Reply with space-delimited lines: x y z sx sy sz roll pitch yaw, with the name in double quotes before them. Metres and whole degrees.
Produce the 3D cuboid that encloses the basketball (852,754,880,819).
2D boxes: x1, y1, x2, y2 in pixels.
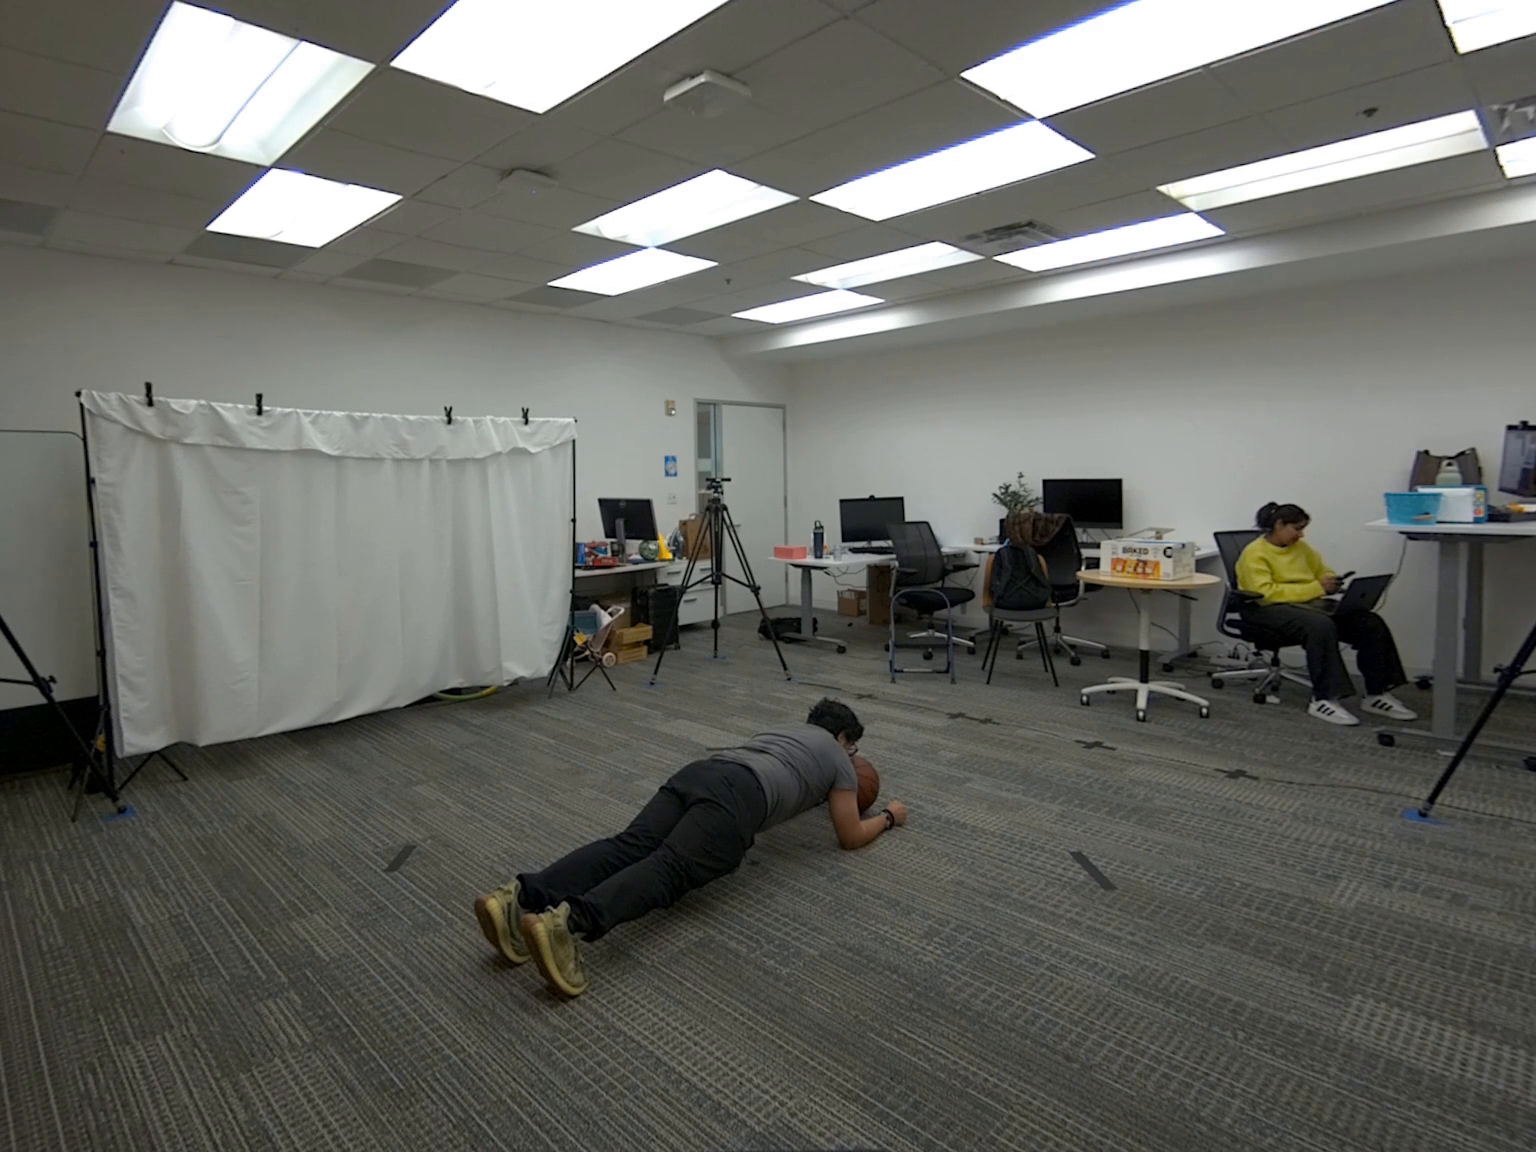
"basketball" 0.346 0.866 3.558 0.236 0.235 0.237 -1 5 -2
